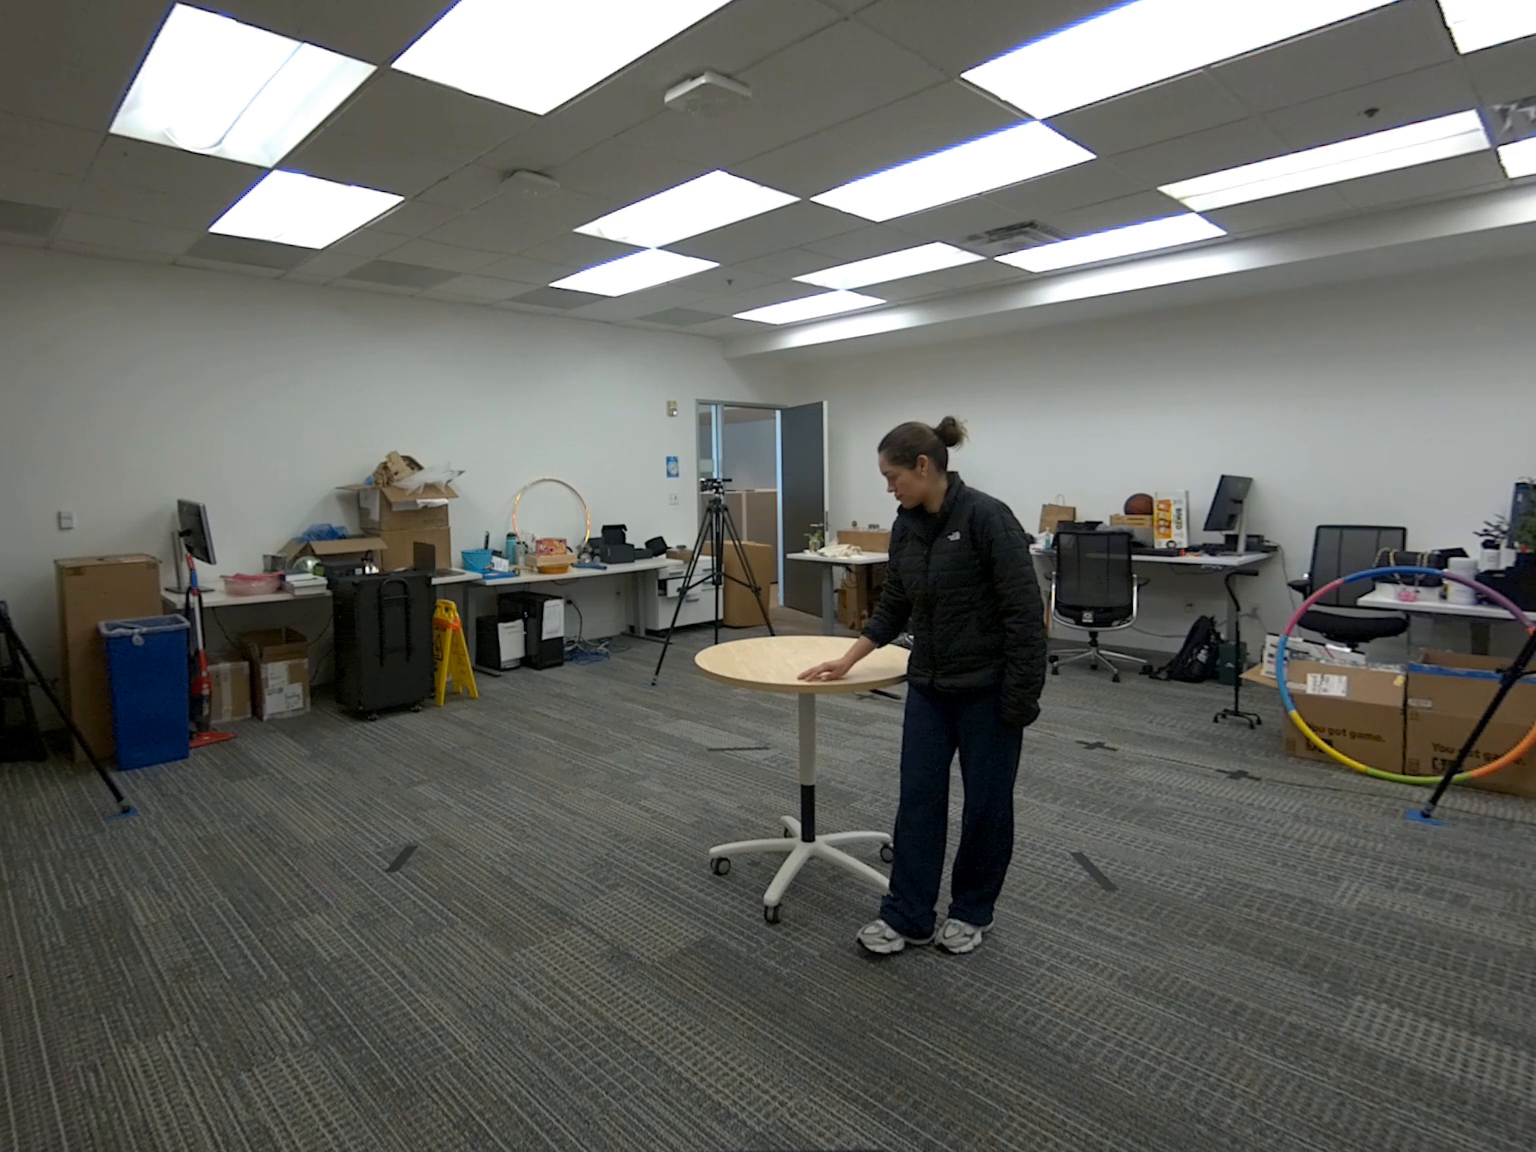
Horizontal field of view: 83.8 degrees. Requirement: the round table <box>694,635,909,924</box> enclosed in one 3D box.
[{"bbox_3d":[0.128,0.664,2.954,0.784,0.783,0.789,-1,5,-2],"label":"round table"}]
